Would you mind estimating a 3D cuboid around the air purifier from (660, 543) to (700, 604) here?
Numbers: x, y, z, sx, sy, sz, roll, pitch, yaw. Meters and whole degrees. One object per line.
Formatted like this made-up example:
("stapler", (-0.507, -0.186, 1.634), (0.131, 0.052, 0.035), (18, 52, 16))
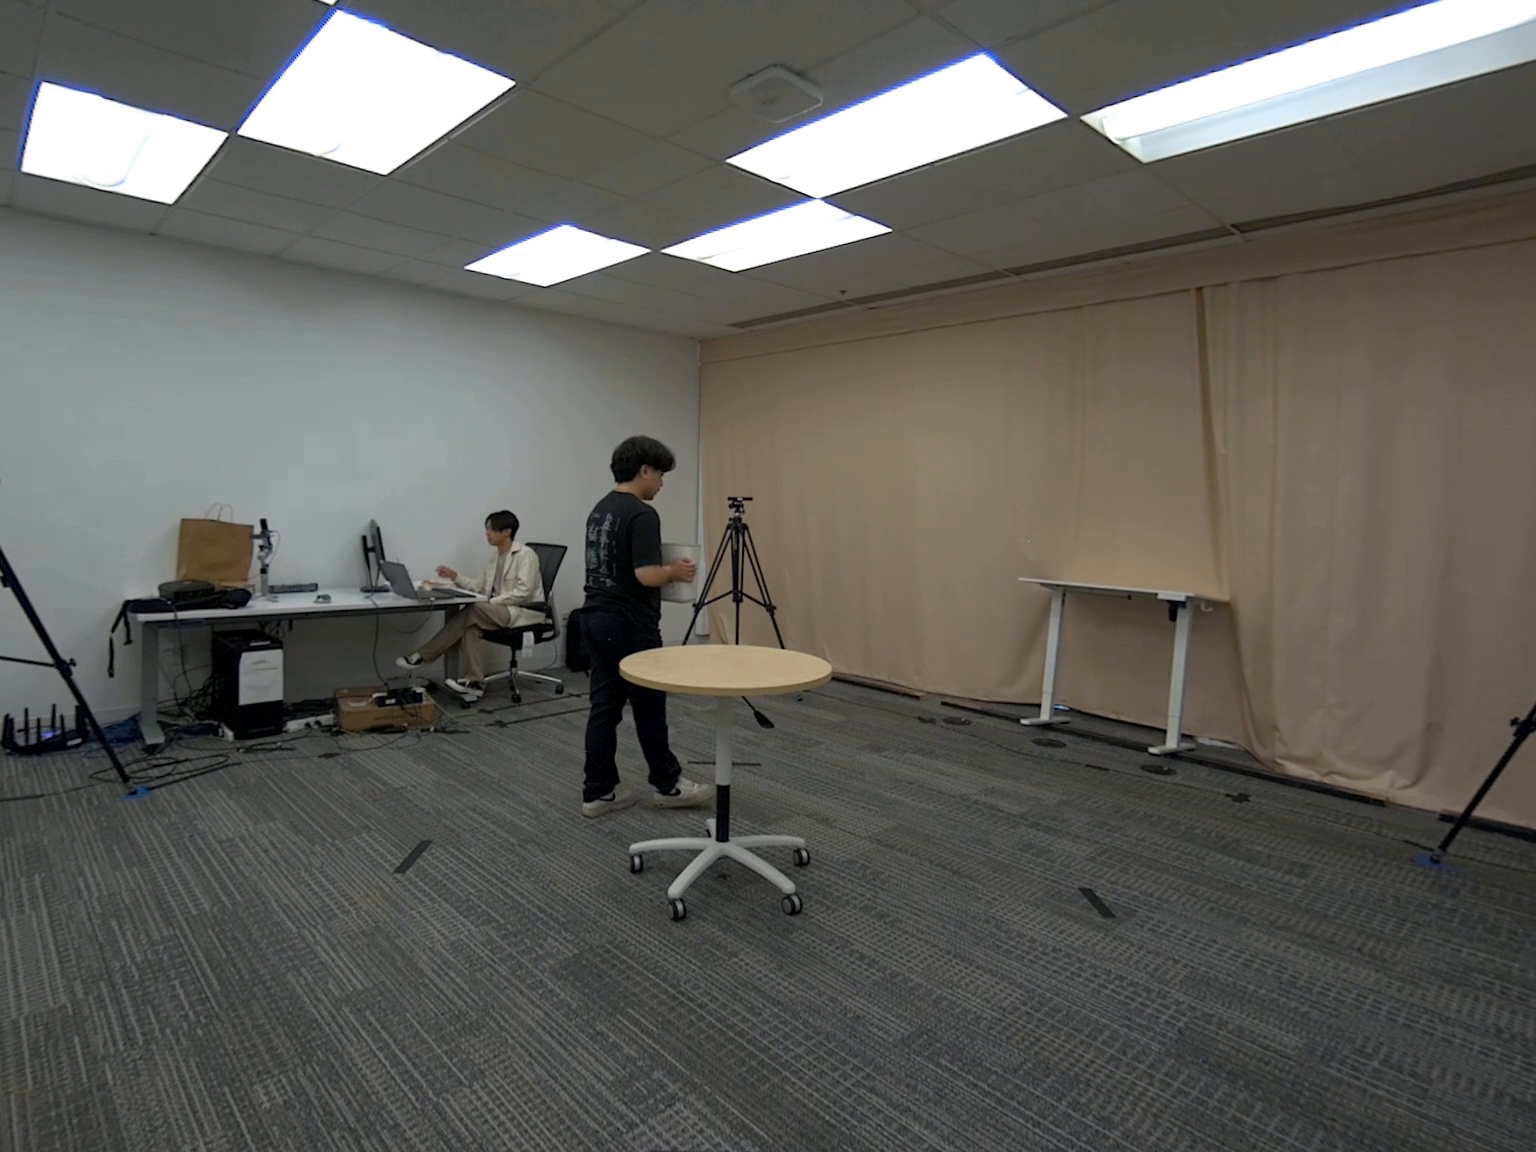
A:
("air purifier", (-0.415, -0.019, 3.857), (0.173, 0.265, 0.170), (5, 3, 13))
